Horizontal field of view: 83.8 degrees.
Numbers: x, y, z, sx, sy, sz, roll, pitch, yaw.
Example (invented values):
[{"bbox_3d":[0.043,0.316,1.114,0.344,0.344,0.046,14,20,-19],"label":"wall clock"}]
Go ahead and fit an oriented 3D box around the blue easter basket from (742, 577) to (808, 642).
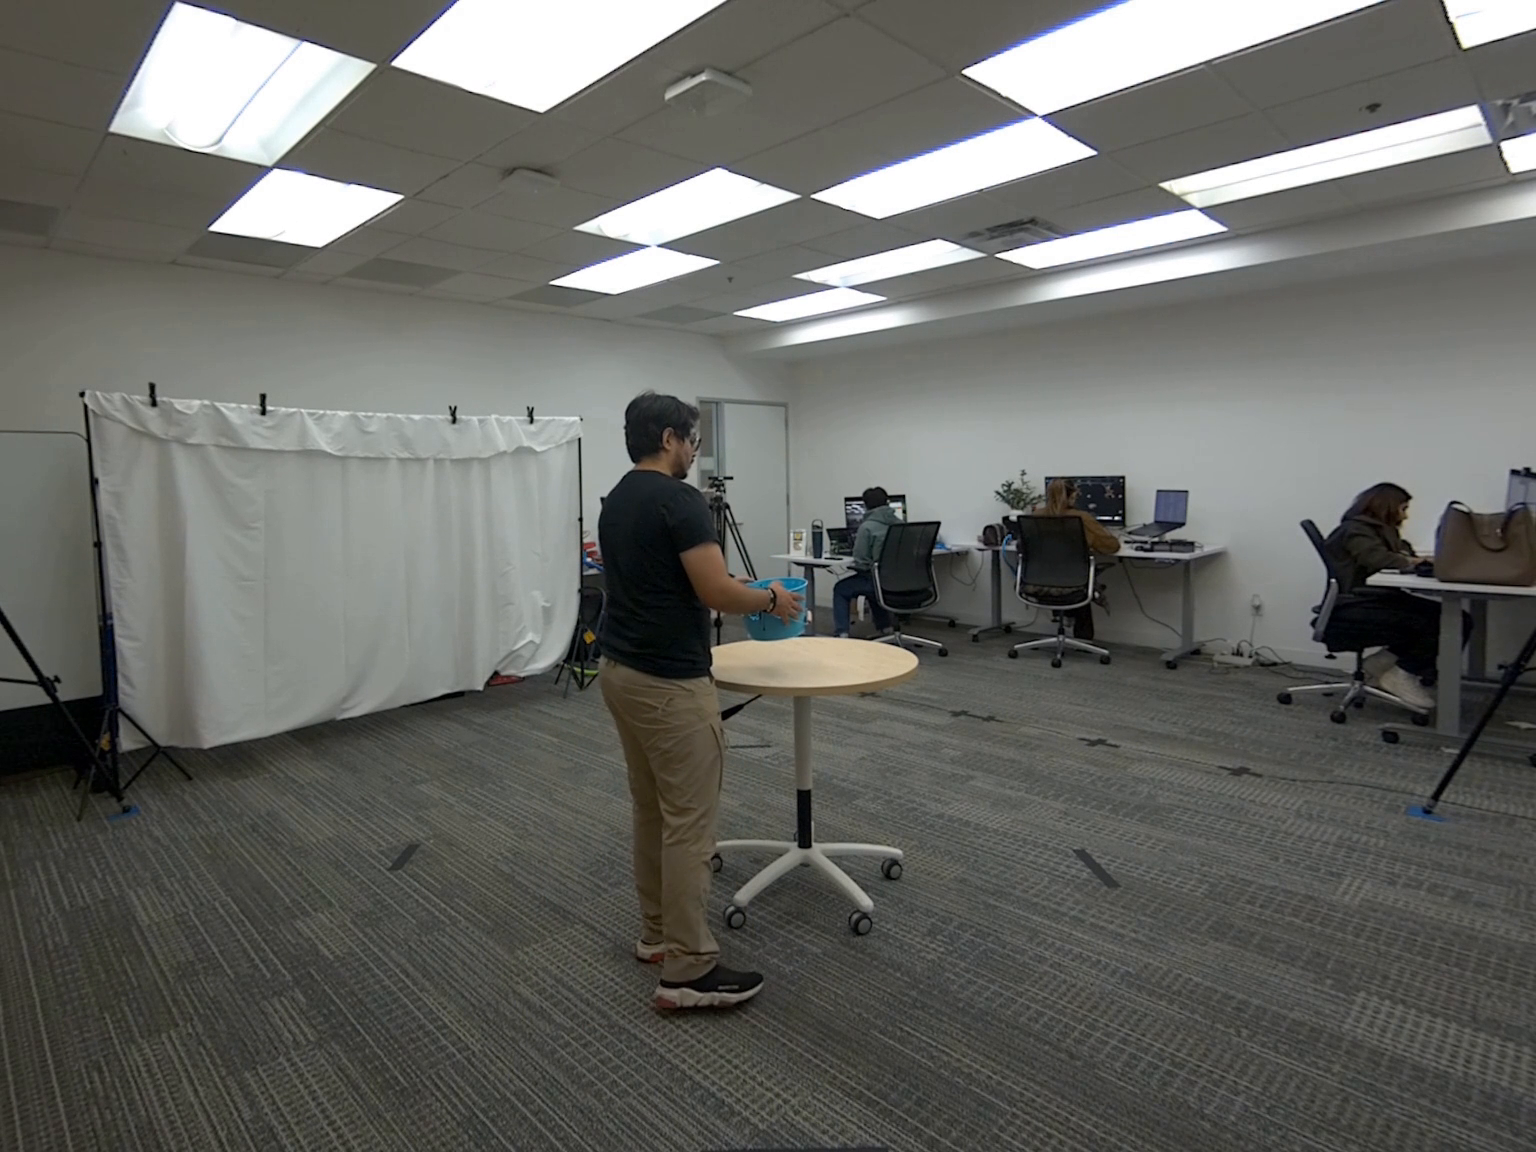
[{"bbox_3d":[0.027,0.109,2.649,0.243,0.154,0.246,-7,9,-1],"label":"blue easter basket"}]
